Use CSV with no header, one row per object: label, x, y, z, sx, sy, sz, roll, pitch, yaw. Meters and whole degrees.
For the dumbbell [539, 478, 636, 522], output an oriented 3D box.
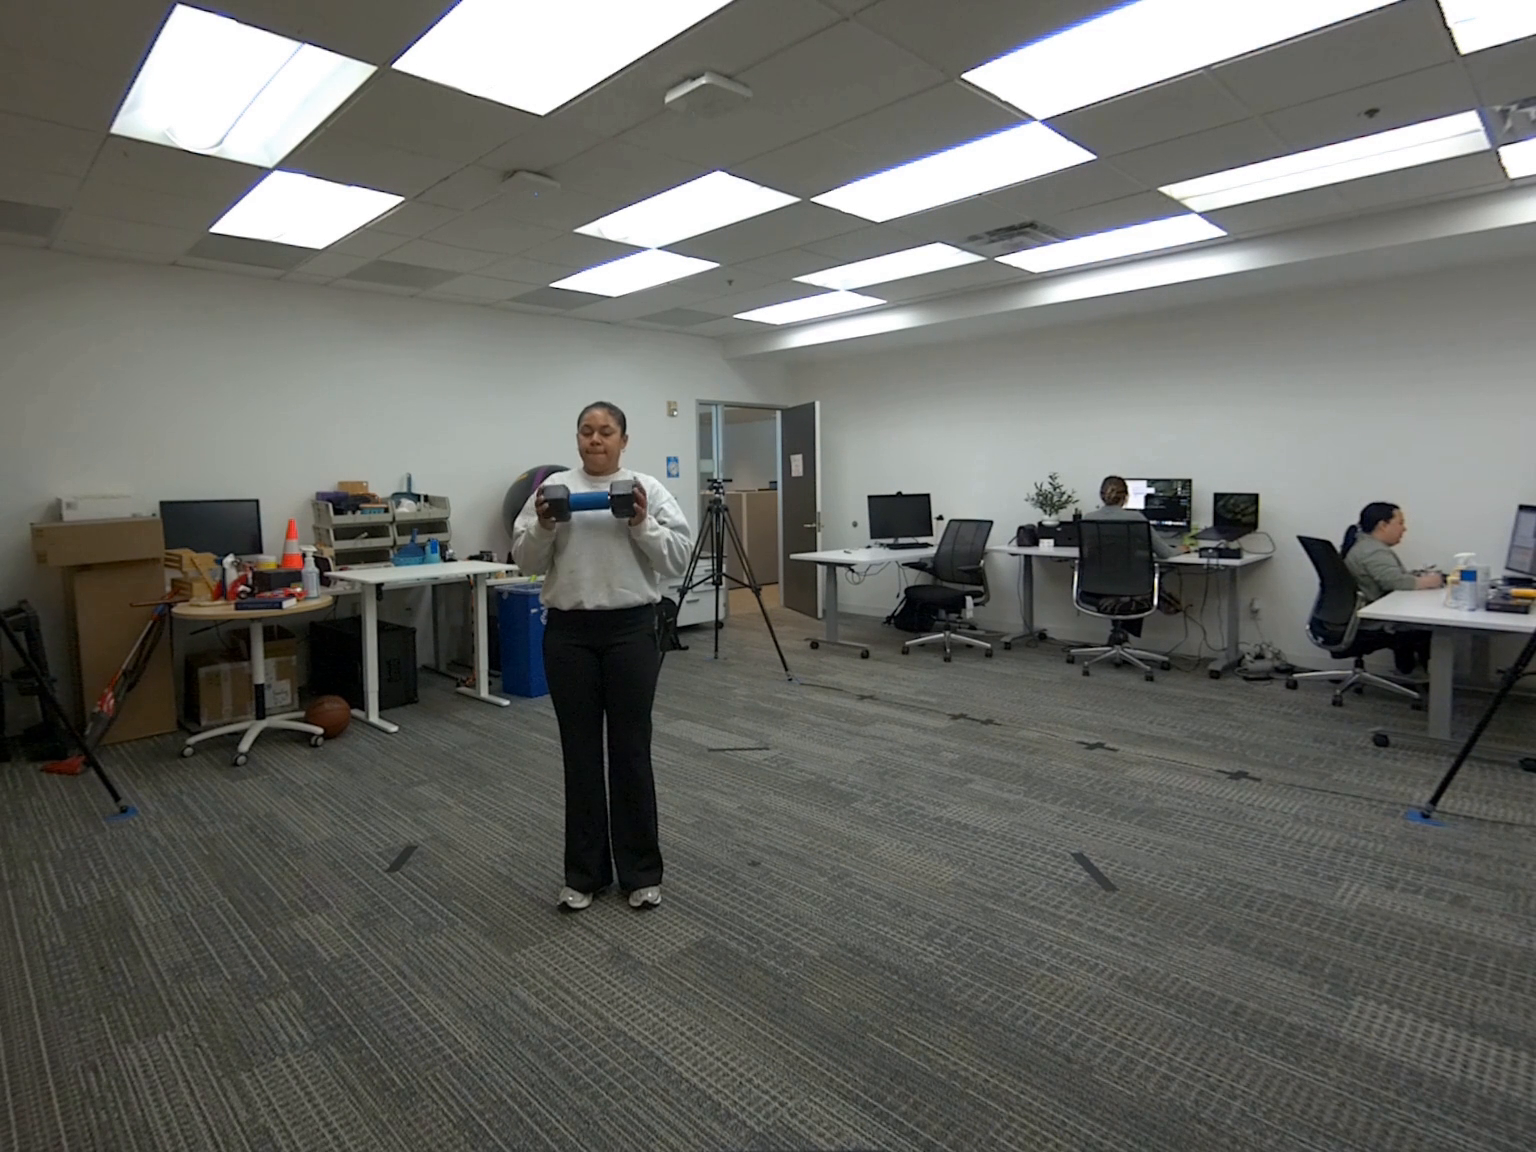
dumbbell,-0.559,-0.223,2.685,0.293,0.120,0.111,-5,31,-1
